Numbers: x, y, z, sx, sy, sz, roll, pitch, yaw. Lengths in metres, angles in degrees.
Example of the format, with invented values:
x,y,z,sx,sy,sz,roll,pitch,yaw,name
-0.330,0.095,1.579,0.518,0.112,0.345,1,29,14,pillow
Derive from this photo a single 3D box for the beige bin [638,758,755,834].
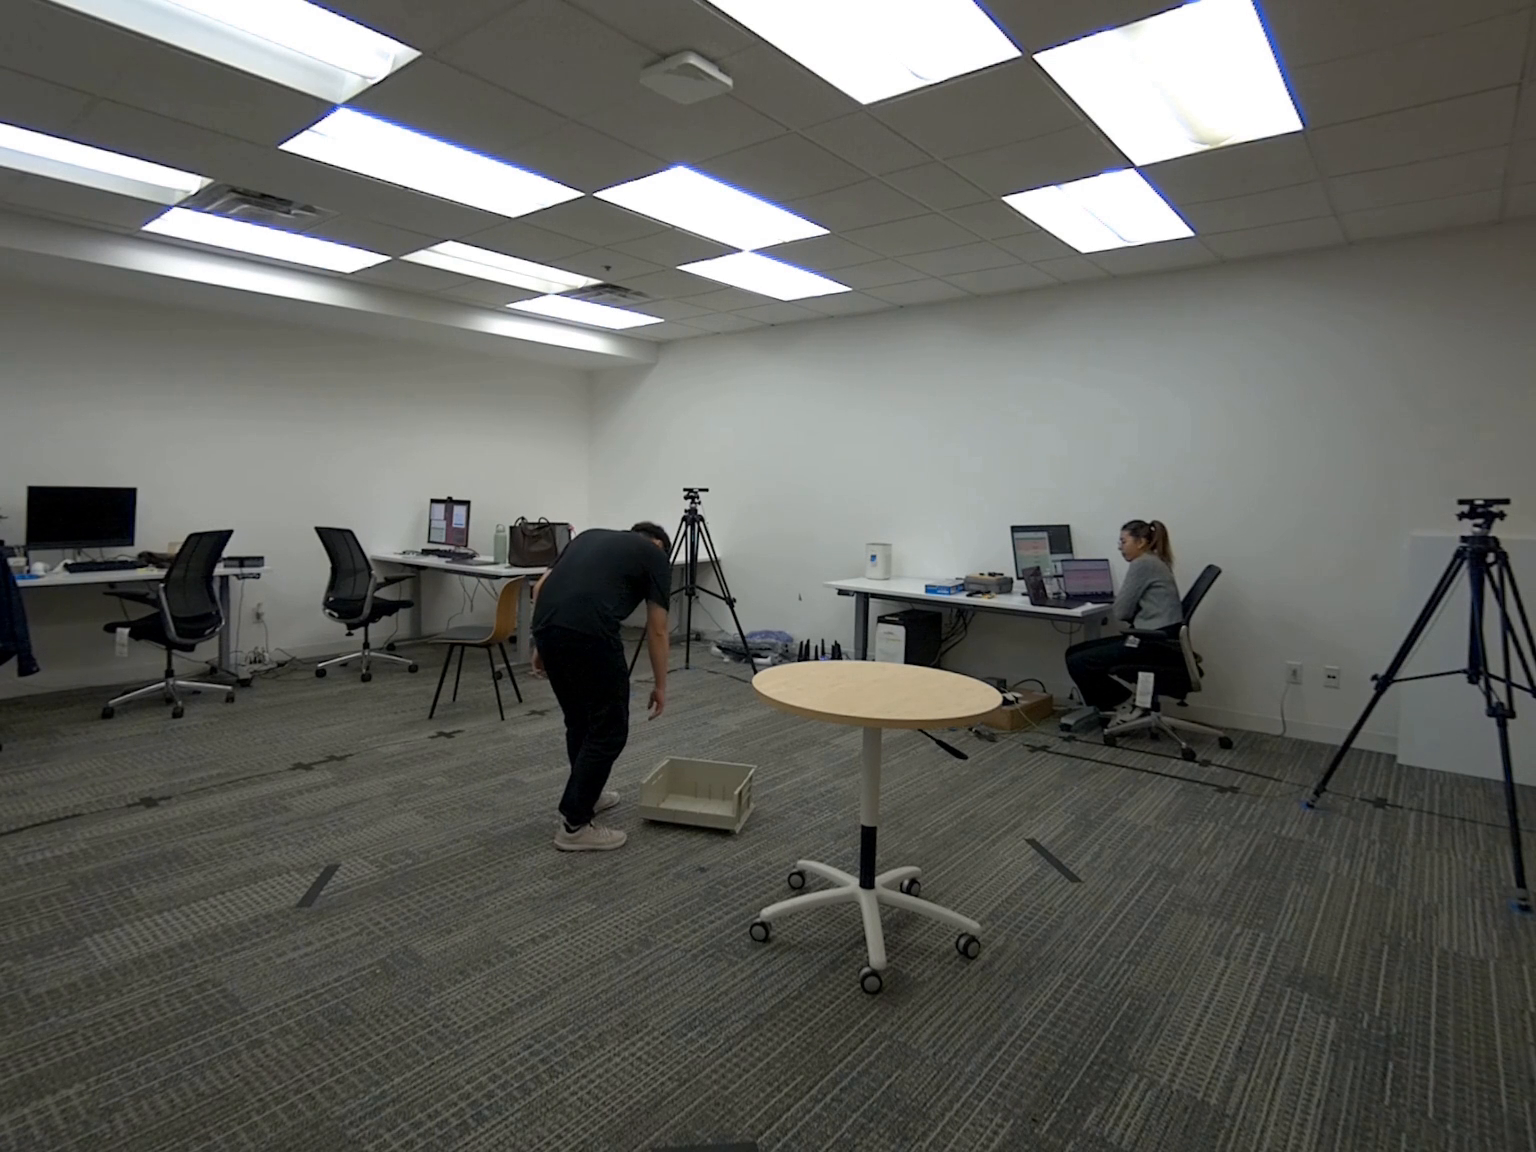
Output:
x,y,z,sx,sy,sz,roll,pitch,yaw,name
-0.300,0.934,3.619,0.429,0.188,0.373,2,4,13,beige bin
